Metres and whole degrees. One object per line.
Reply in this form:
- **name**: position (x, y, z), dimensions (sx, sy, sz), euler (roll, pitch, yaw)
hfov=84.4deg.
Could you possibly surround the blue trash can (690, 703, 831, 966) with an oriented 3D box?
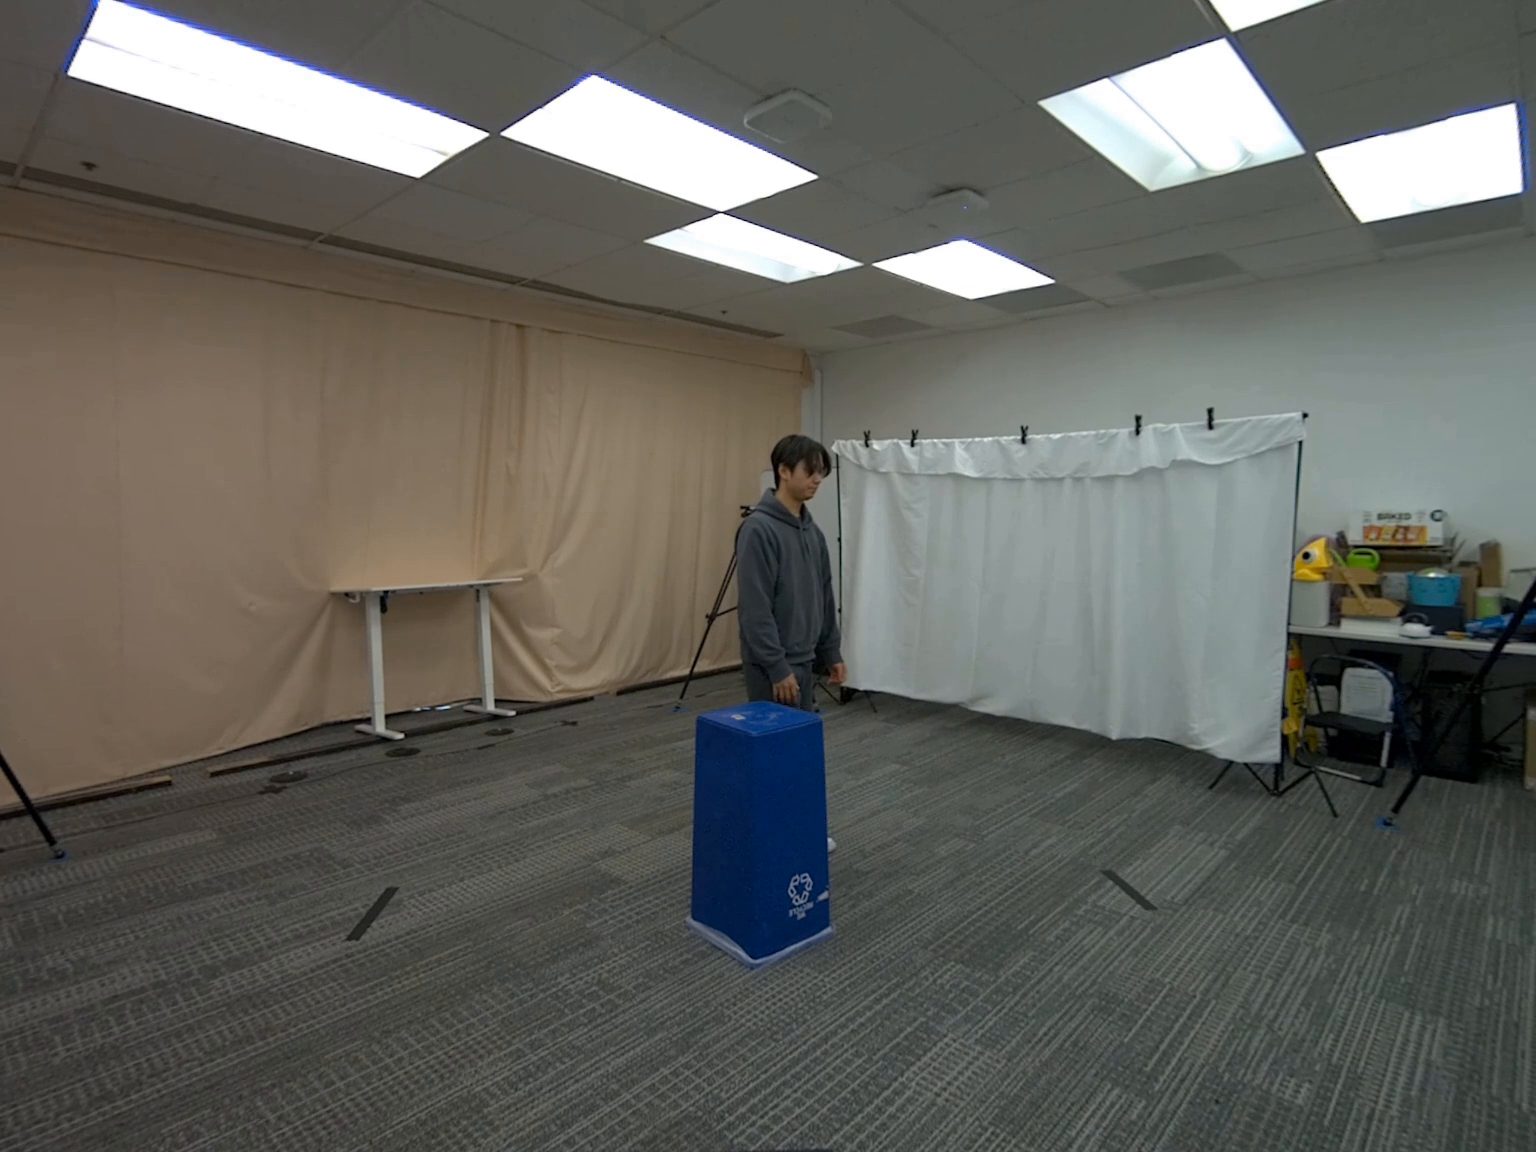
- **blue trash can**: position (-0.034, 0.808, 2.755), dimensions (0.363, 0.712, 0.390), euler (-4, 5, -41)
